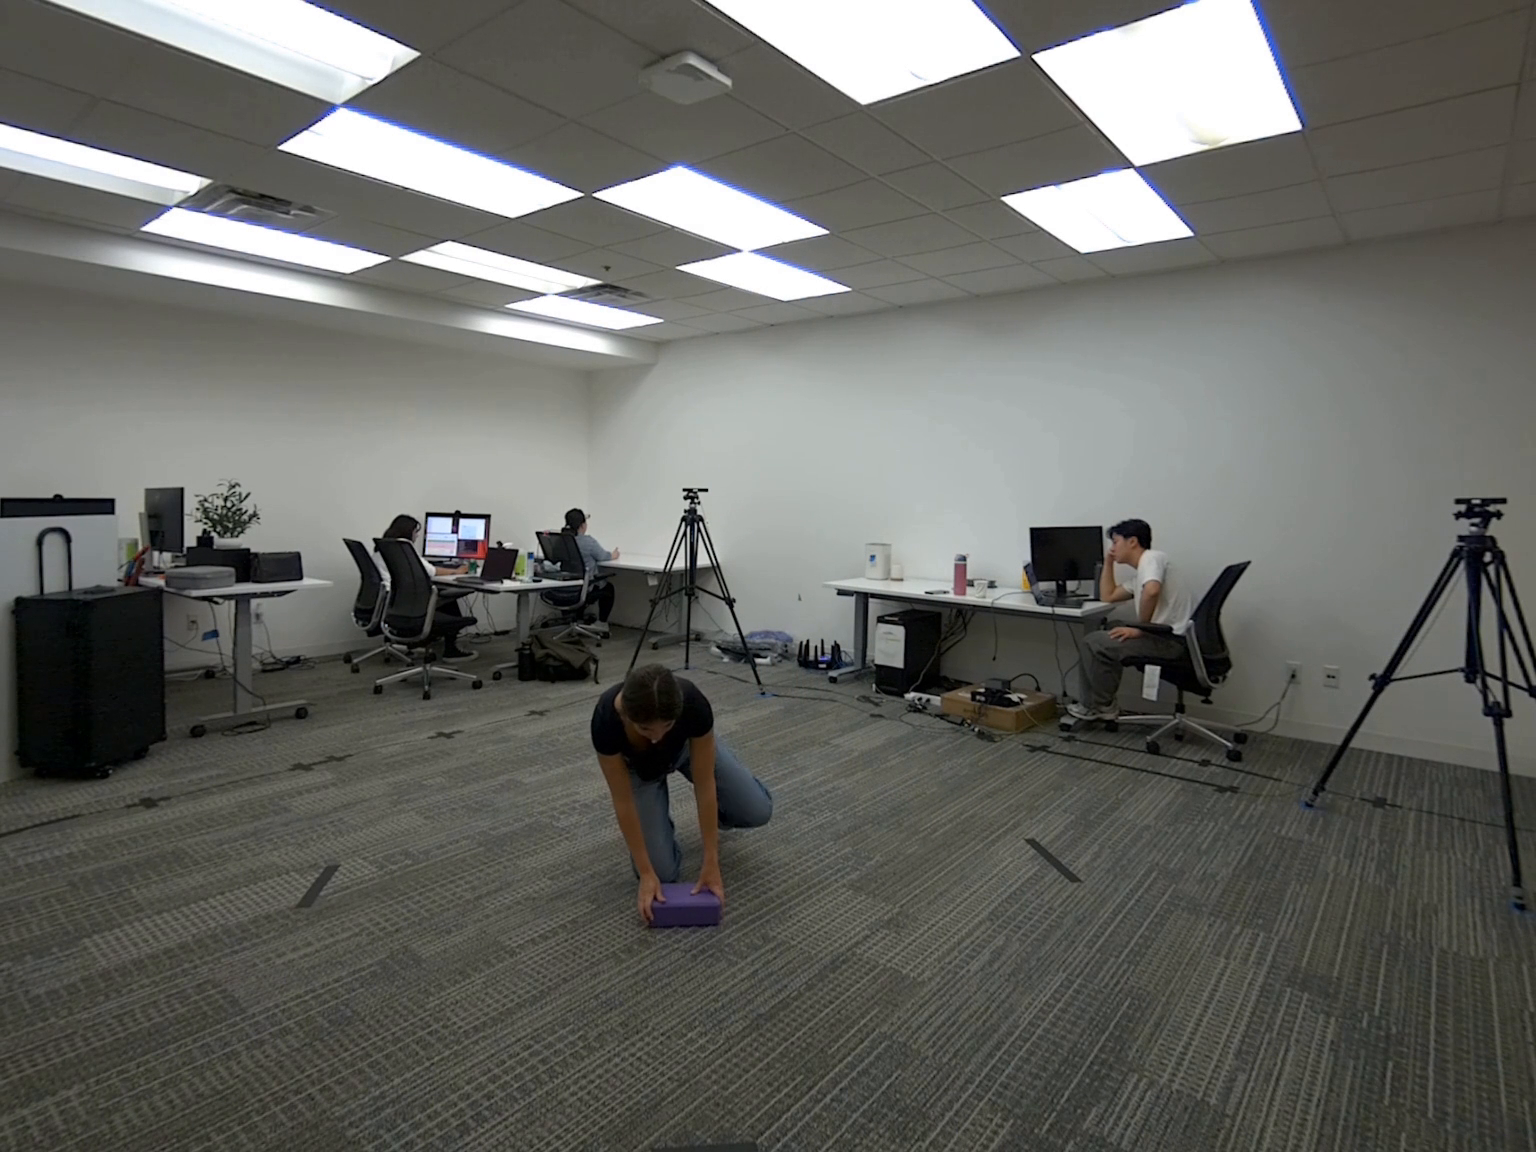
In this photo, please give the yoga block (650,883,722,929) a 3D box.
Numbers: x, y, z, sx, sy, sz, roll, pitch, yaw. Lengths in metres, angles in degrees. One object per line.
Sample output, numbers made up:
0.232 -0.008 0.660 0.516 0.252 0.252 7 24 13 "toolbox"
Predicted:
-0.278 1.059 2.761 0.228 0.076 0.151 1 8 -6 "yoga block"
